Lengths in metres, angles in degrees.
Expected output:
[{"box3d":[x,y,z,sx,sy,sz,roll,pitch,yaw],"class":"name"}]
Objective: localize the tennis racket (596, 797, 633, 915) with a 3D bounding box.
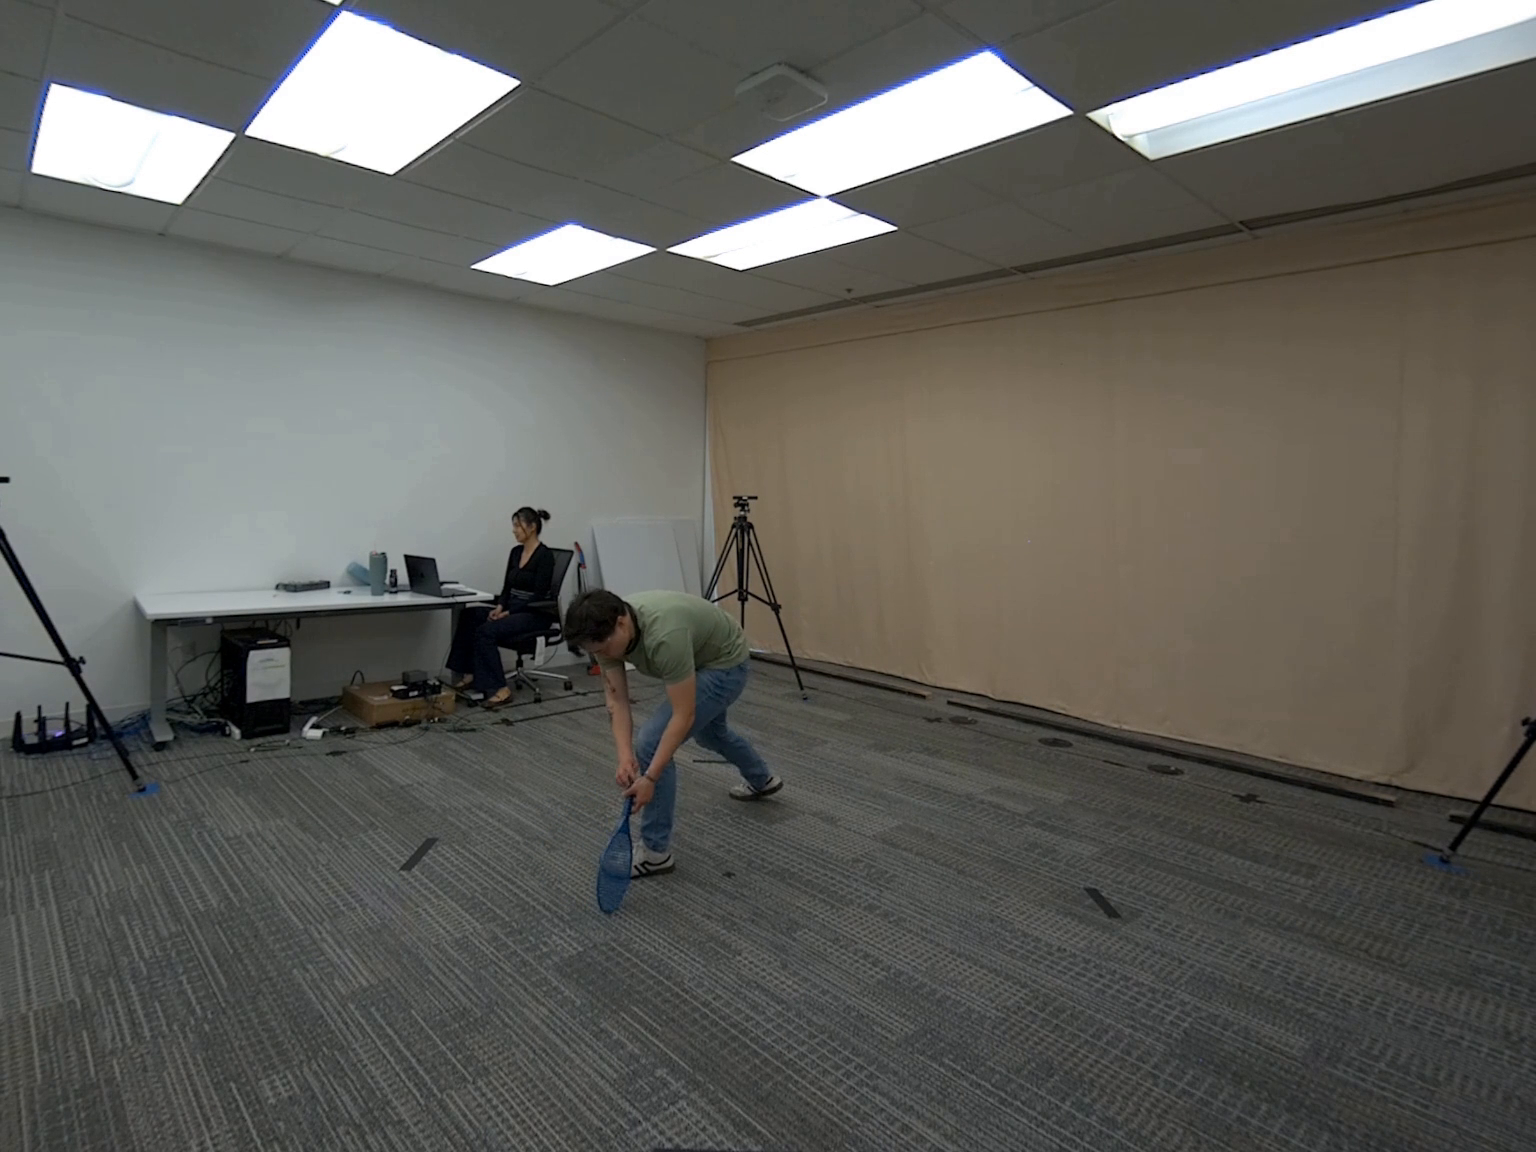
[{"box3d":[-0.511,0.920,2.855,0.032,0.438,0.208,1,-22,20],"class":"tennis racket"}]
